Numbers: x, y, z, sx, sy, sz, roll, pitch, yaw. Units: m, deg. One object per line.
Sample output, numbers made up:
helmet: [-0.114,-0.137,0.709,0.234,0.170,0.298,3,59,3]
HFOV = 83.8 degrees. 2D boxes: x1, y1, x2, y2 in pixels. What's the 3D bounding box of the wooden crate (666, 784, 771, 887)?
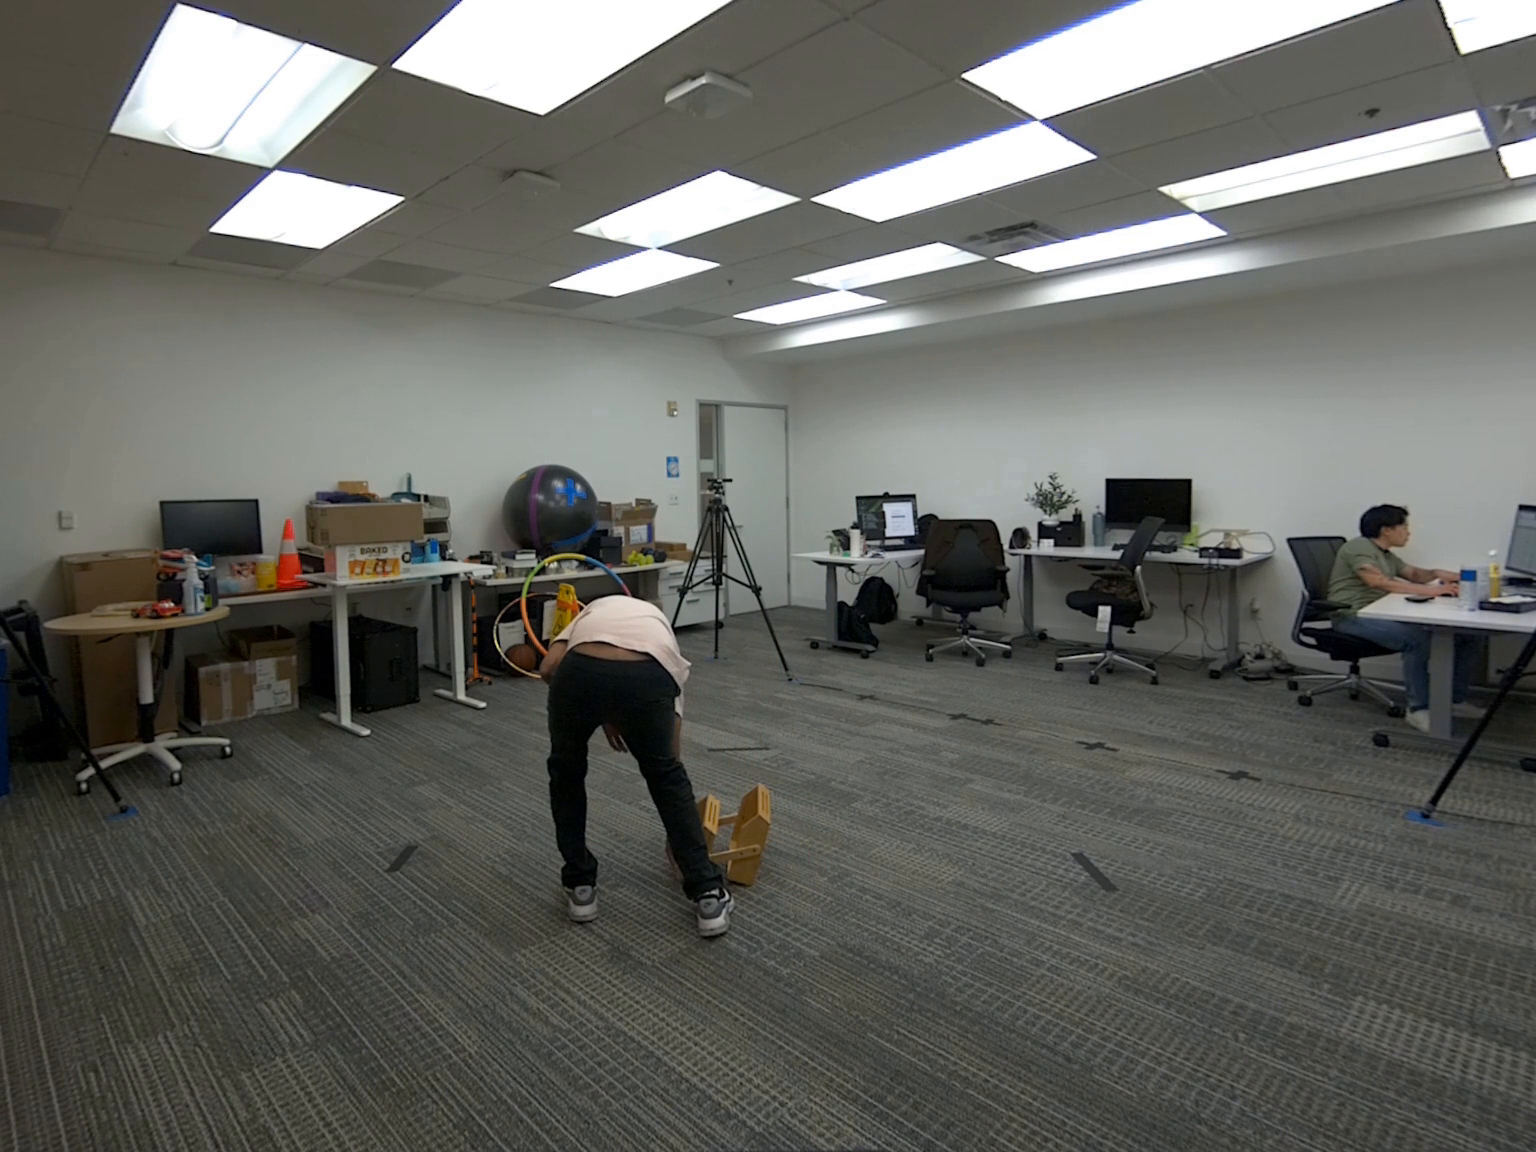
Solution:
wooden crate: [-0.151,0.916,3.078,0.273,0.301,0.325,15,5,-1]
